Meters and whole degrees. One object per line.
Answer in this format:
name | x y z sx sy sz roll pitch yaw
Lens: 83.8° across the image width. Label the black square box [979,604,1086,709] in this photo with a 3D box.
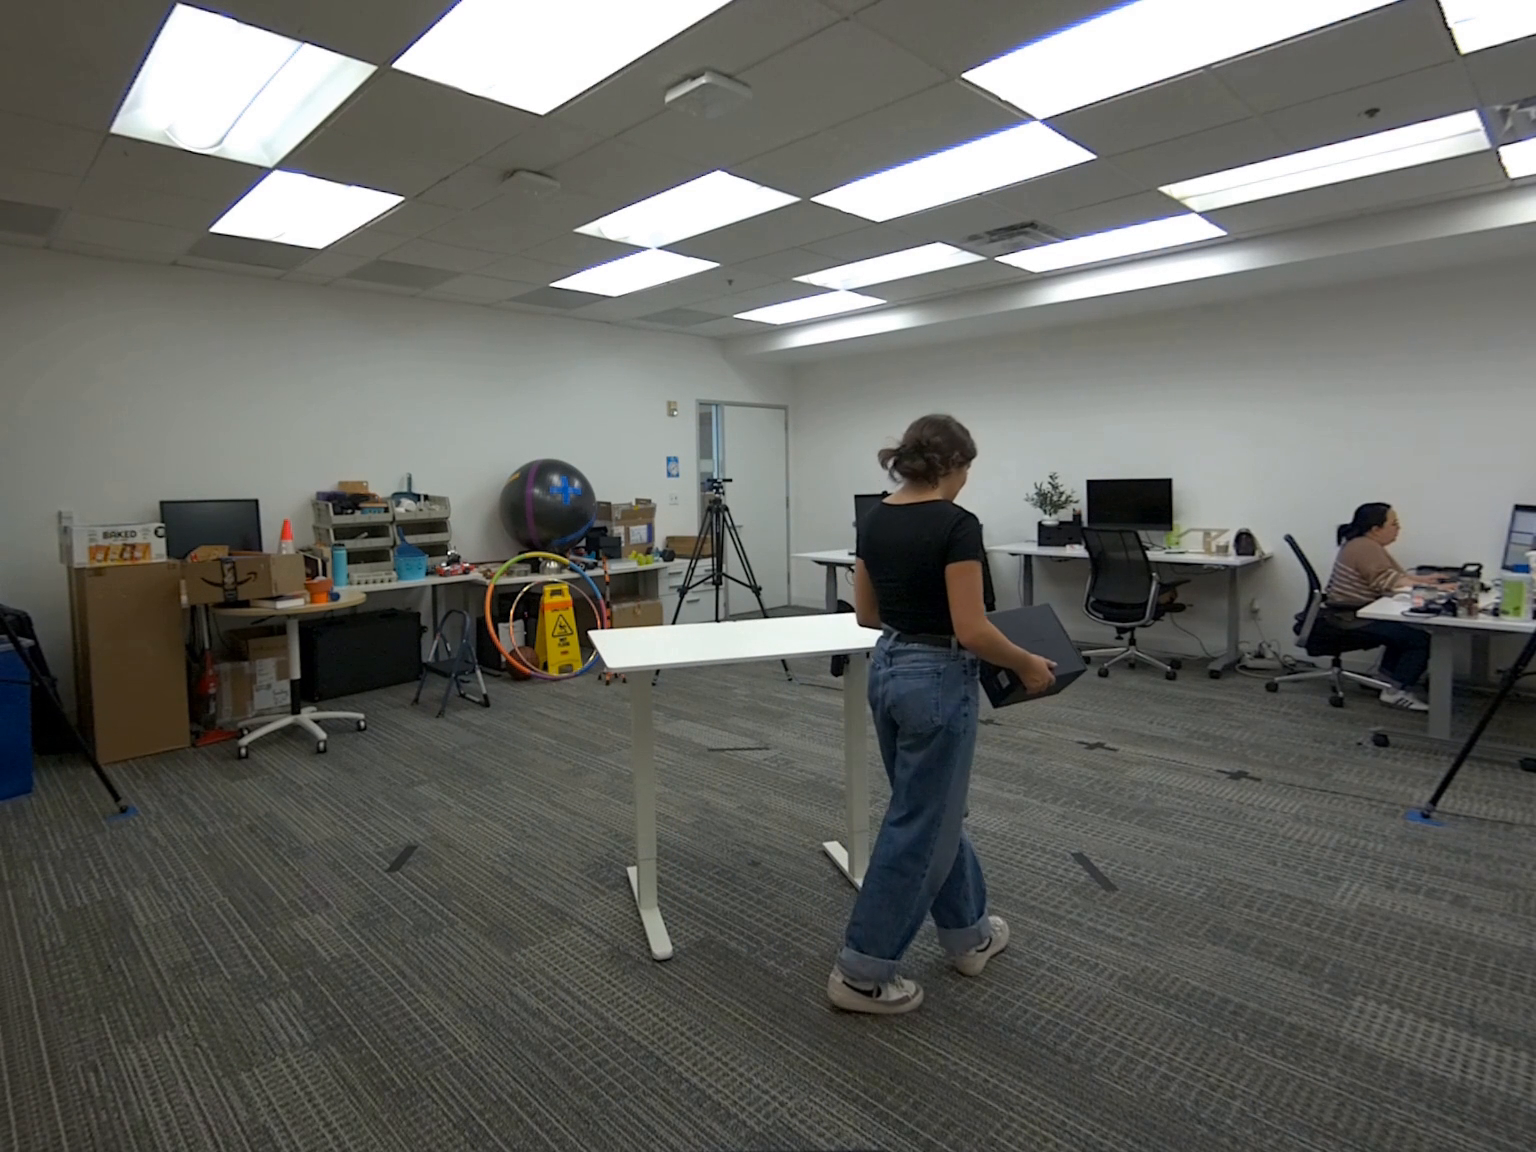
black square box | 0.708 0.215 2.375 0.224 0.224 0.153 -8 -32 -20
